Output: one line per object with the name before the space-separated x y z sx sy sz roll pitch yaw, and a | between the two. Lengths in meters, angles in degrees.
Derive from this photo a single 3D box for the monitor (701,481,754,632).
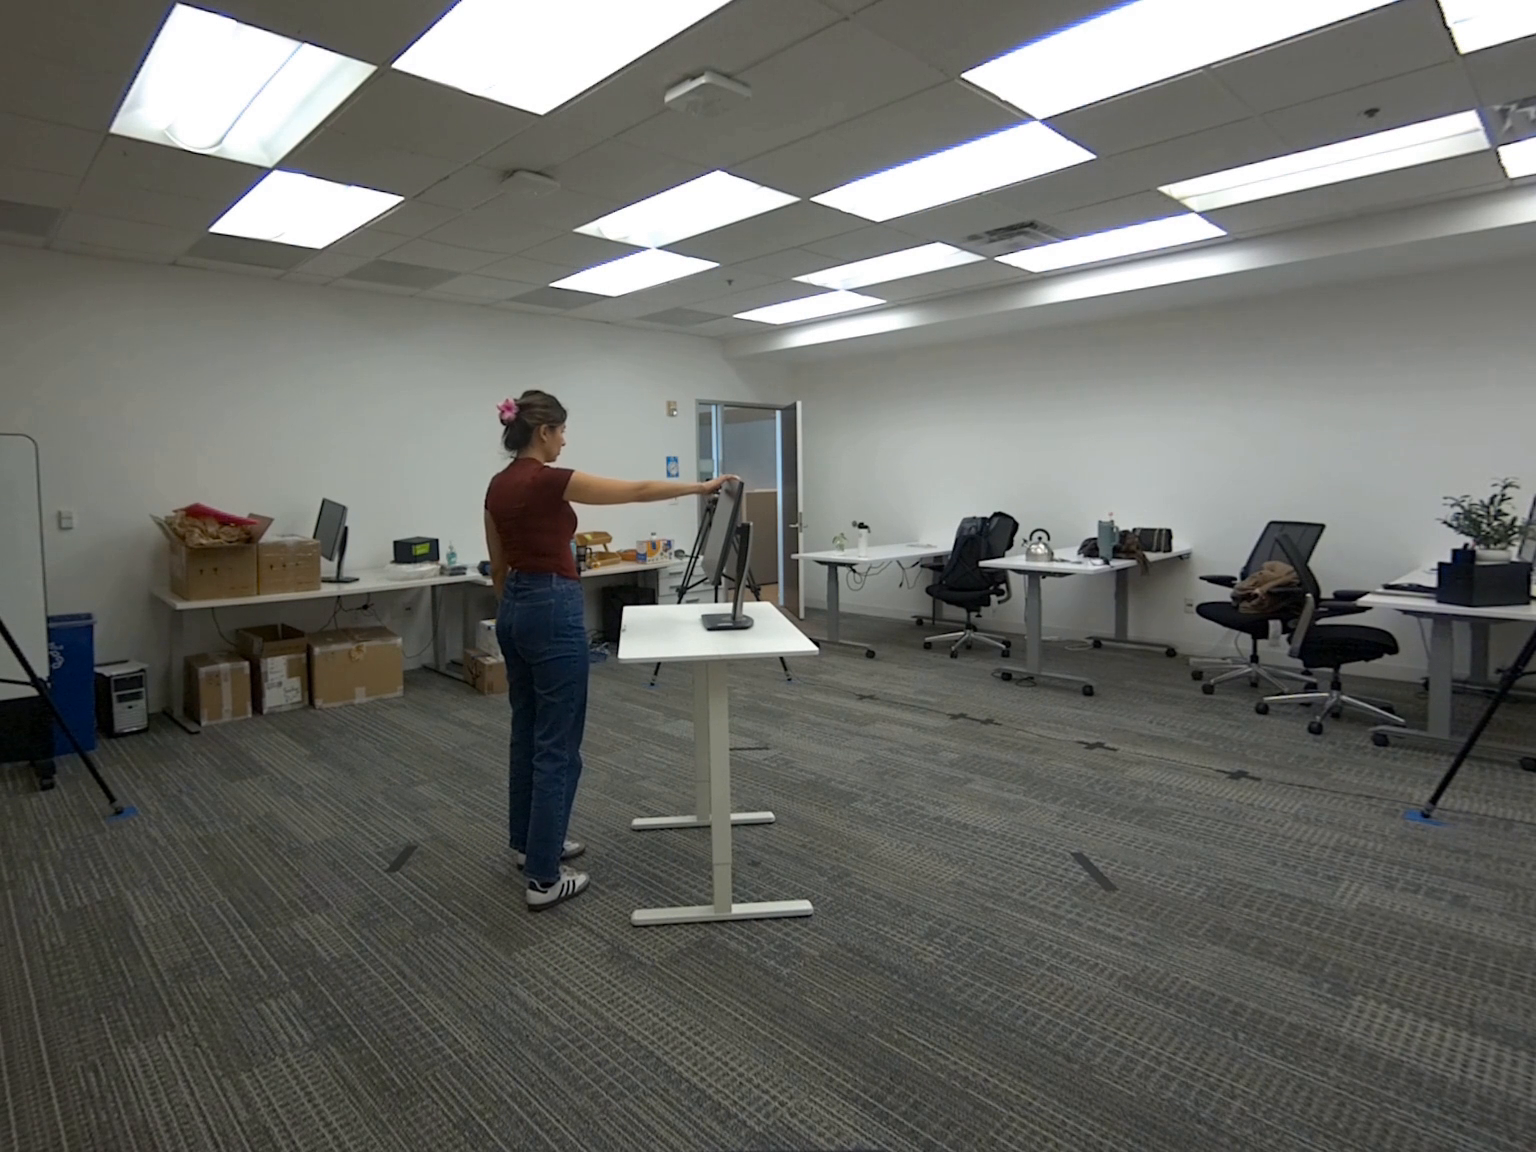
monitor | -0.137 -0.082 3.044 0.185 0.520 0.547 1 6 -11
